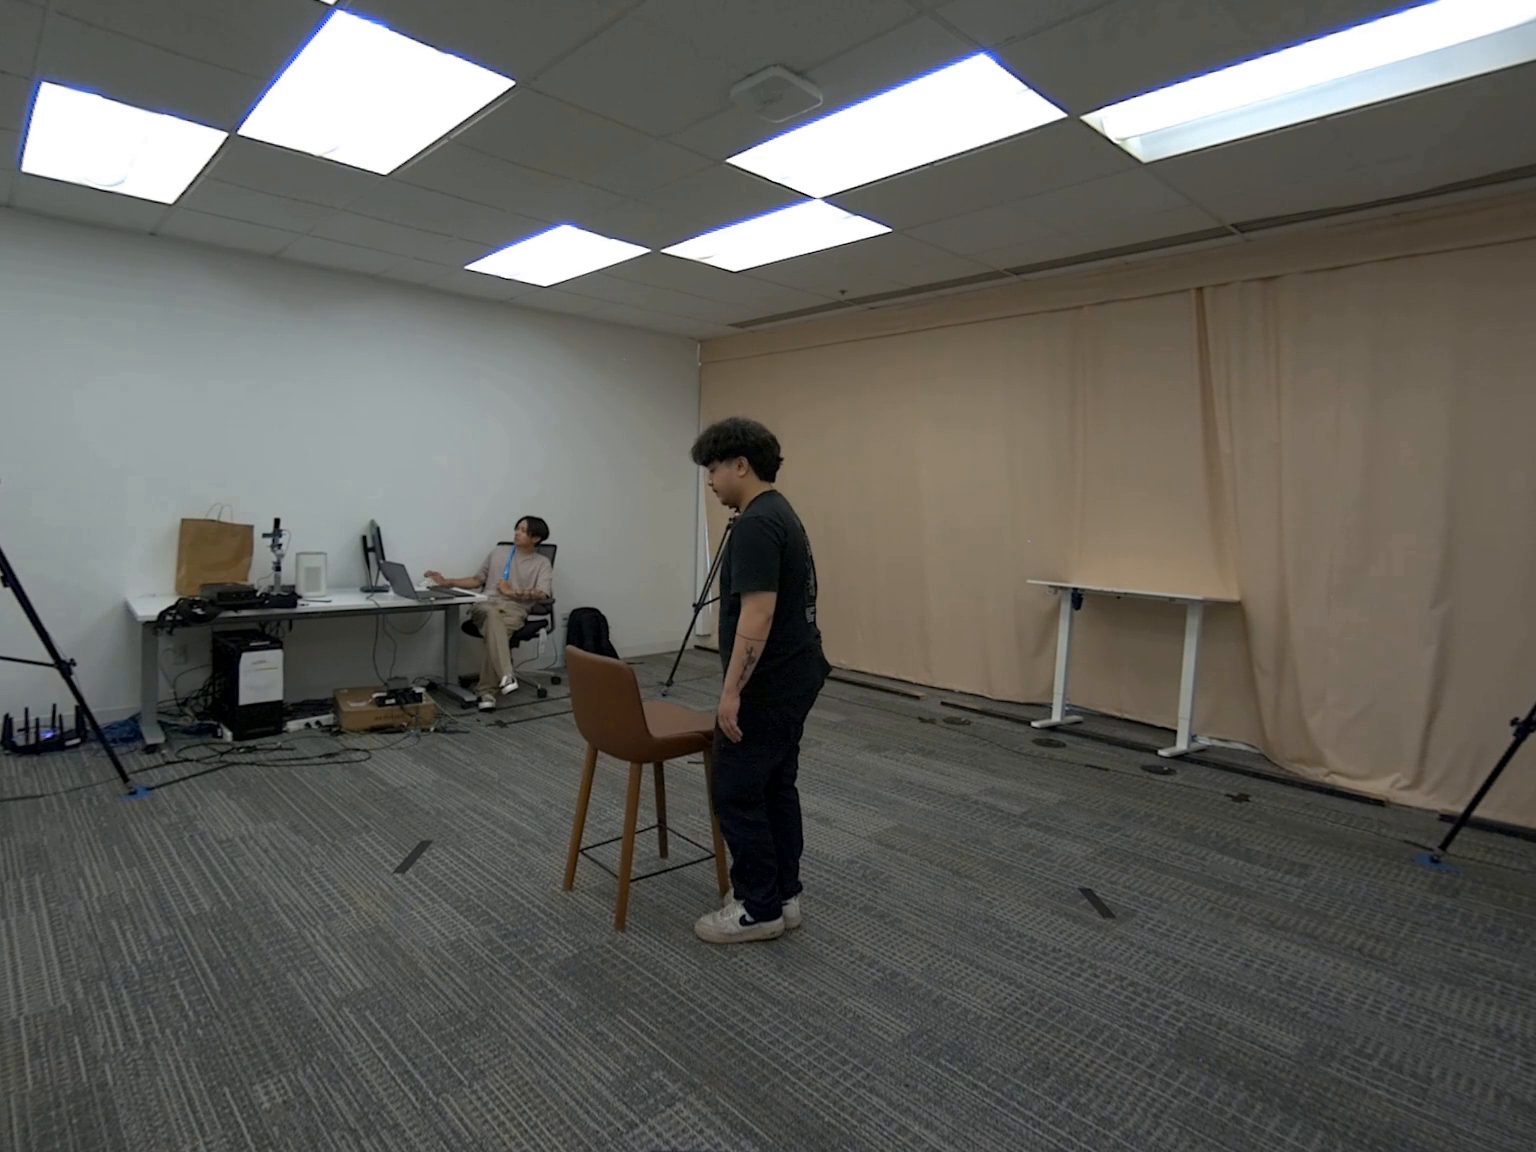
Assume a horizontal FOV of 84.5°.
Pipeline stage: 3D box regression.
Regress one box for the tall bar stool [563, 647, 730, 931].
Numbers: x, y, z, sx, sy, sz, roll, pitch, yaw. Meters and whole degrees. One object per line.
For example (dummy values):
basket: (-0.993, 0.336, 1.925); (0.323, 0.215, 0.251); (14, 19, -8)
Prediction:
tall bar stool: (-0.438, 0.679, 2.945); (0.457, 0.887, 0.468); (-5, 6, -39)
